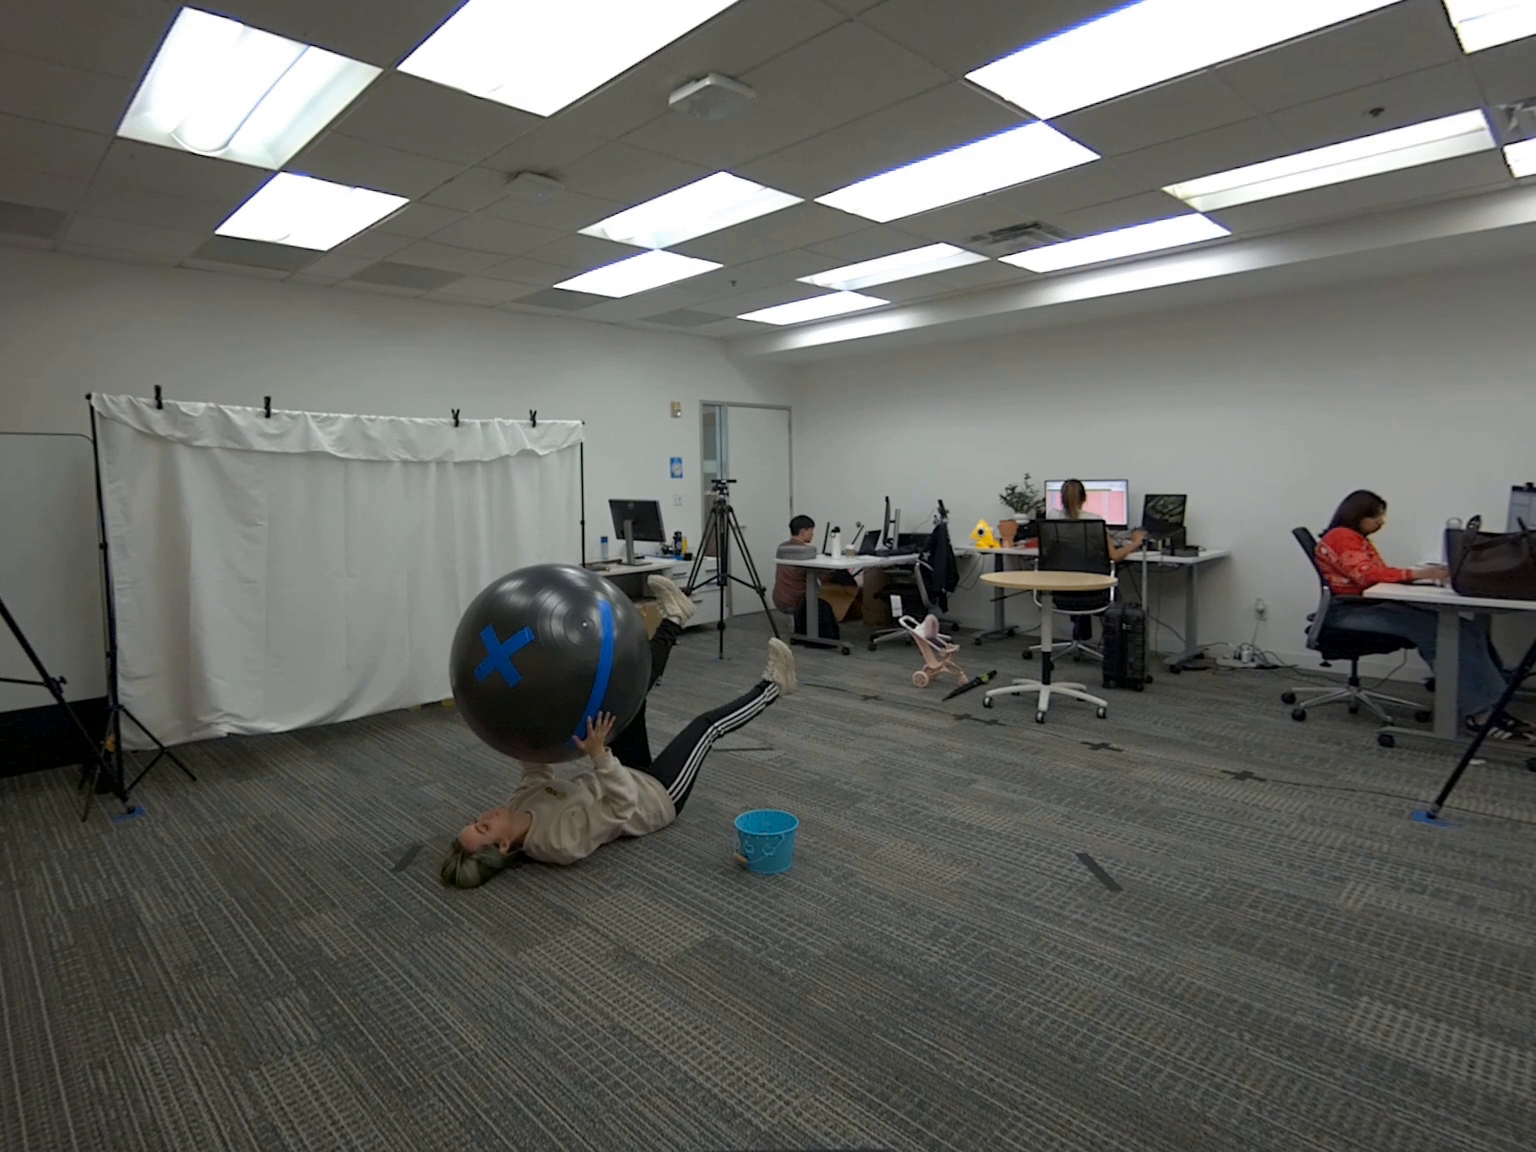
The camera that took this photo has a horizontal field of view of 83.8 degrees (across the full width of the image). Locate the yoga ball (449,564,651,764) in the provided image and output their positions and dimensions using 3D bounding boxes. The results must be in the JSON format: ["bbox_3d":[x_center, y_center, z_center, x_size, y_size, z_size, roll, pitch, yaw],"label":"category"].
[{"bbox_3d":[-0.834,0.333,3.279,0.757,0.755,0.762,-1,5,-2],"label":"yoga ball"}]
